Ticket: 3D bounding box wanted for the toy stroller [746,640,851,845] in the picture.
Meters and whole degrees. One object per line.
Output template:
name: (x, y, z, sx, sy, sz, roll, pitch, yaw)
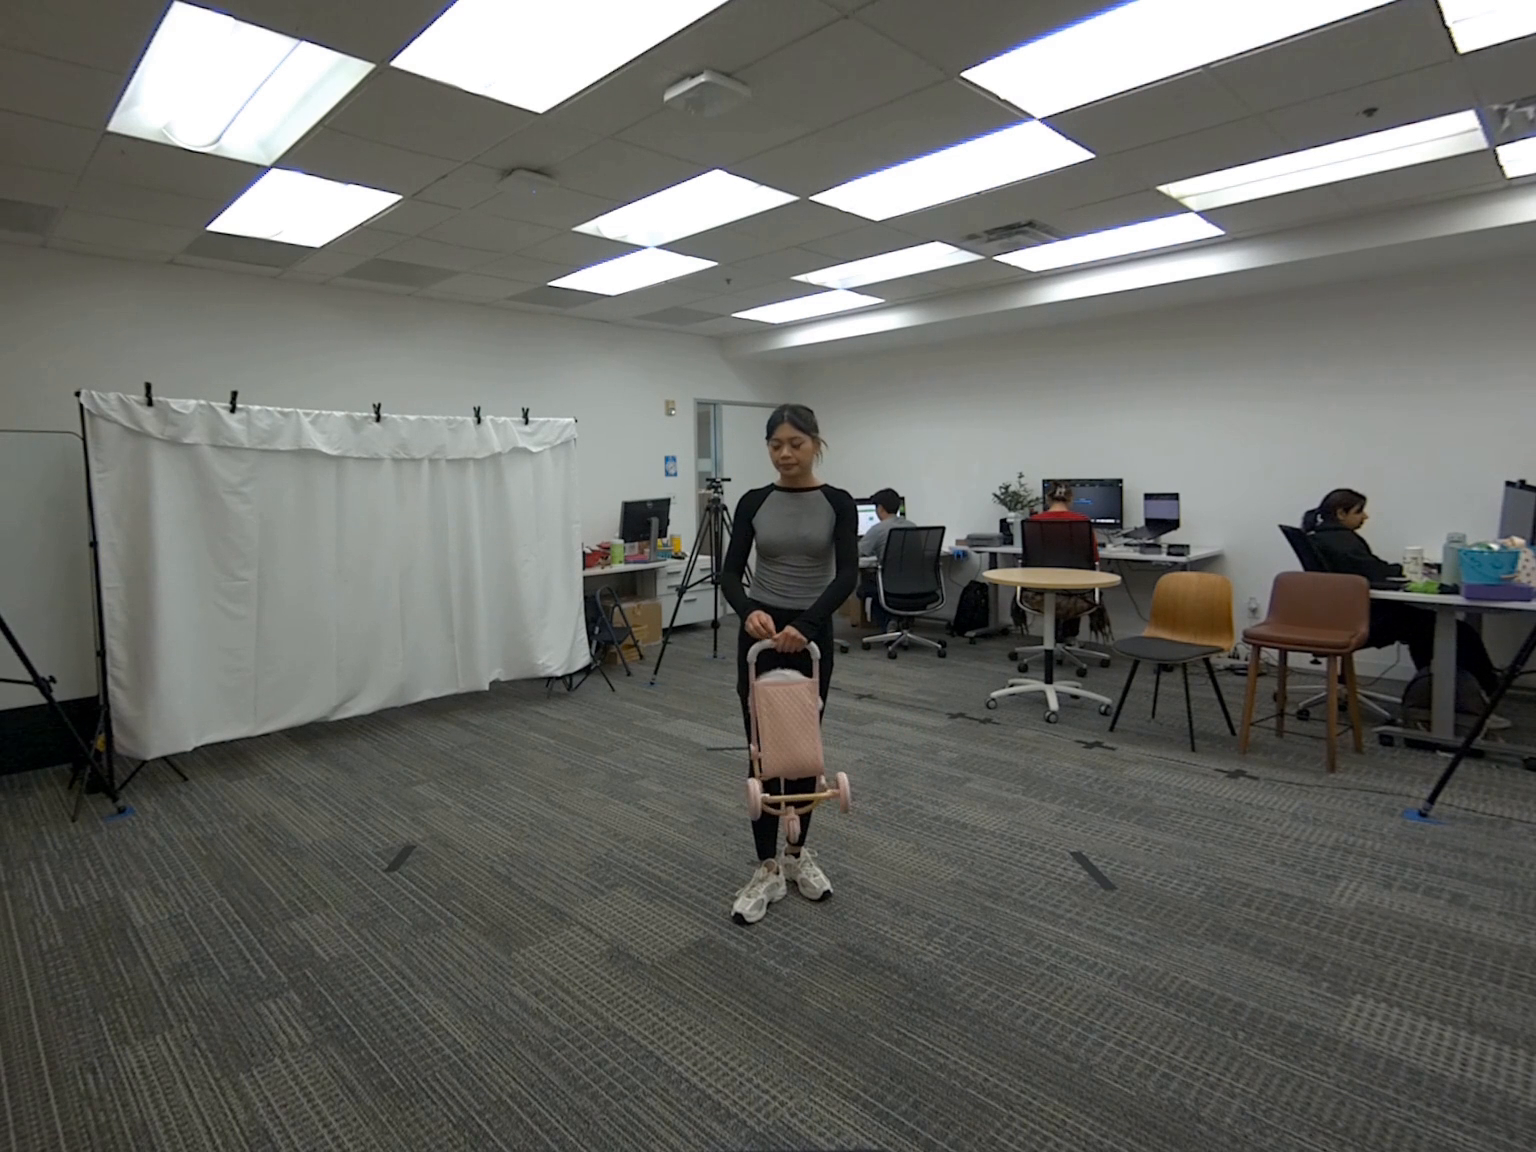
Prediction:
toy stroller: (0.063, 0.497, 2.492, 0.281, 0.546, 0.334, -7, -21, -2)
